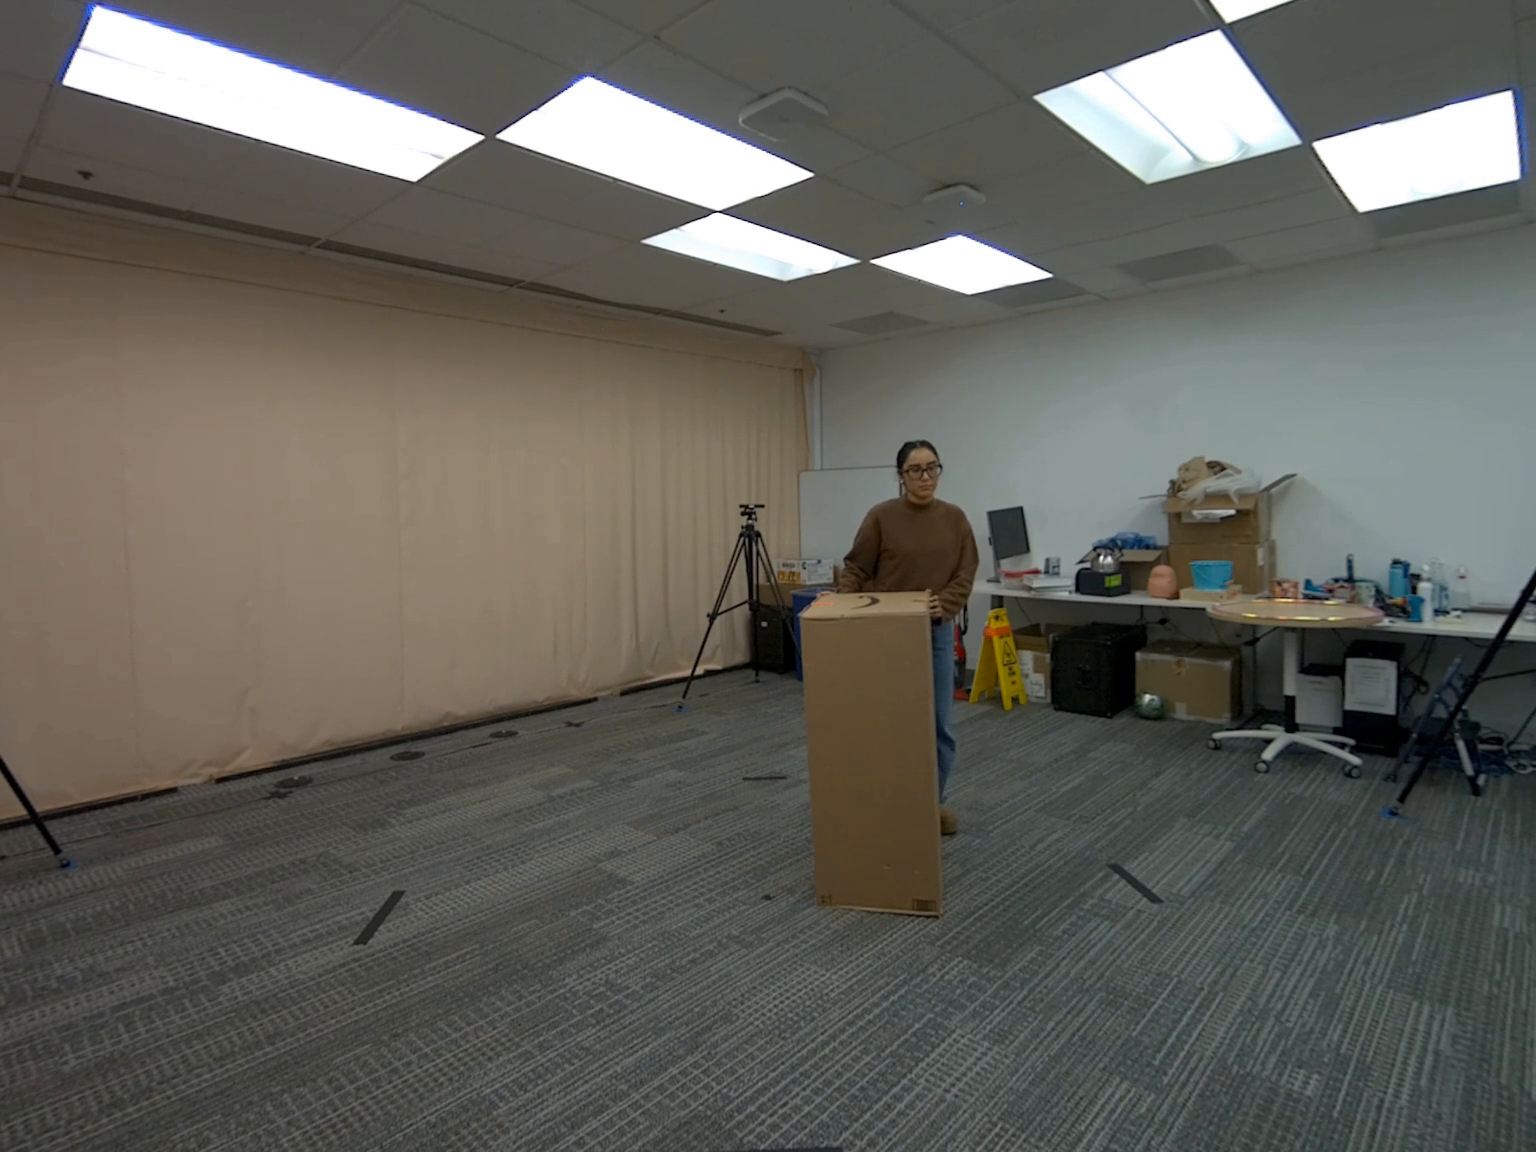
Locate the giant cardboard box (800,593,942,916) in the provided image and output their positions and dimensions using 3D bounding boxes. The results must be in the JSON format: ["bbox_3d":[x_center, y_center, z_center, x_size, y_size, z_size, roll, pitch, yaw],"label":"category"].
[{"bbox_3d":[0.391,0.605,3.099,0.433,1.023,0.569,-3,4,15],"label":"giant cardboard box"}]
